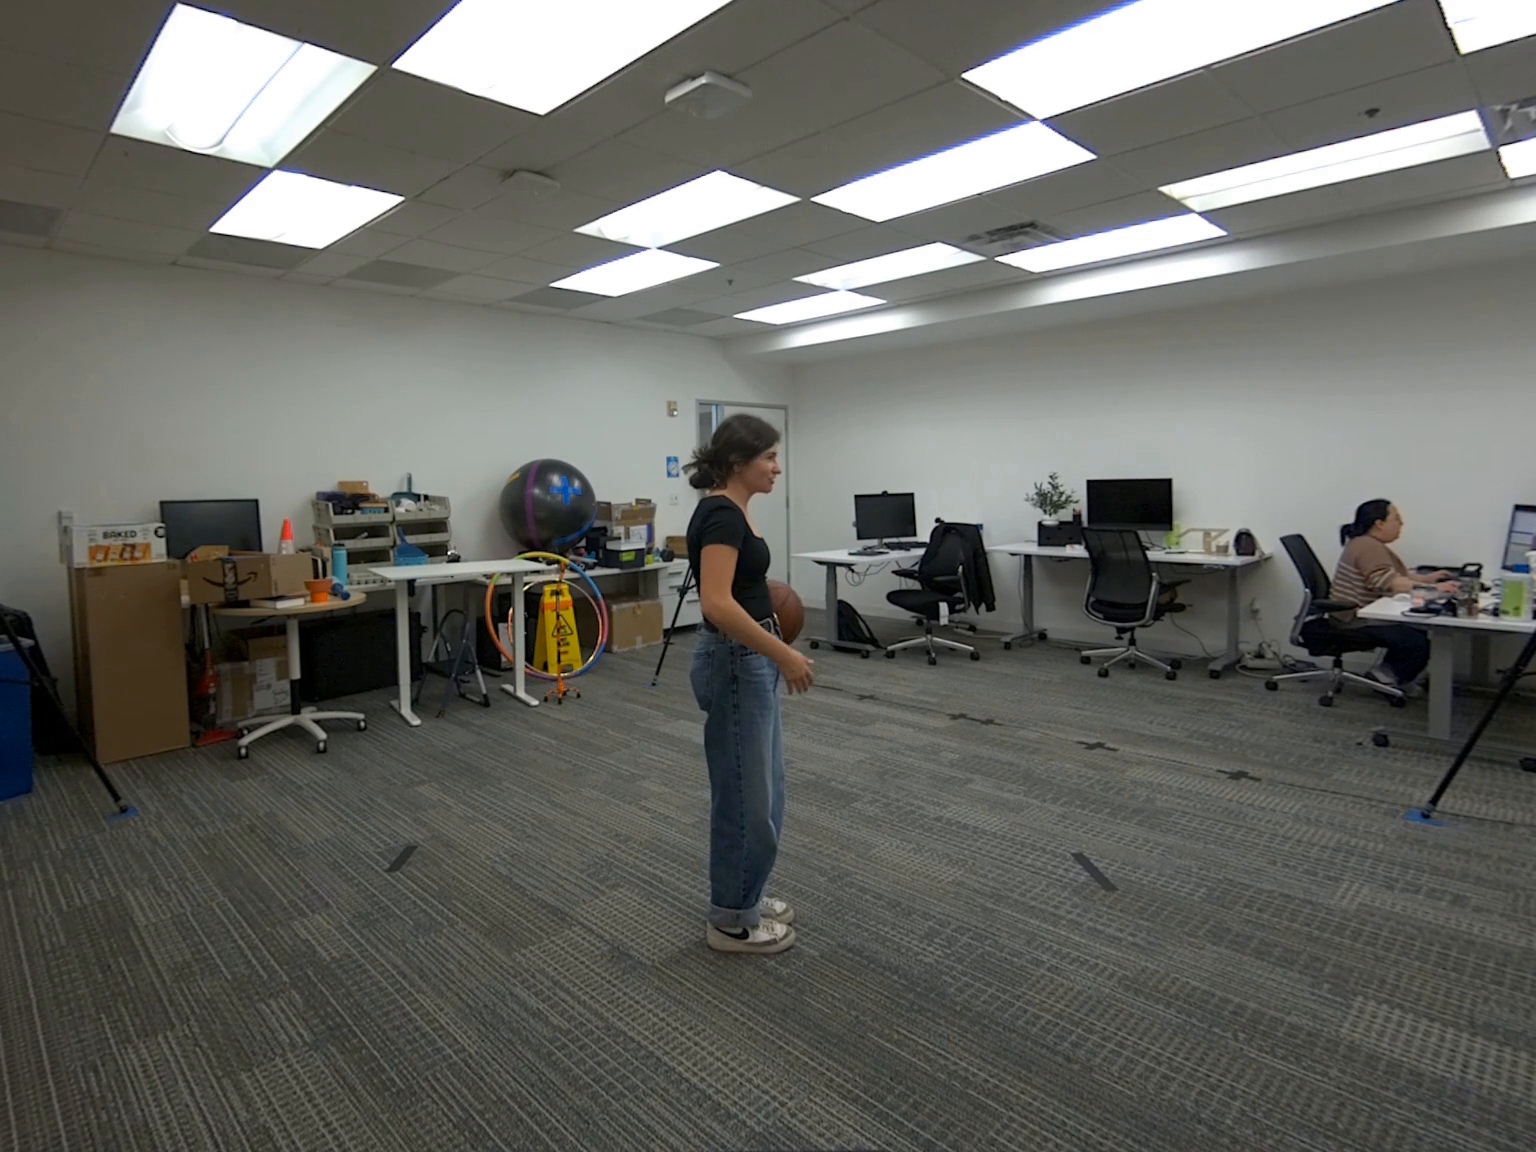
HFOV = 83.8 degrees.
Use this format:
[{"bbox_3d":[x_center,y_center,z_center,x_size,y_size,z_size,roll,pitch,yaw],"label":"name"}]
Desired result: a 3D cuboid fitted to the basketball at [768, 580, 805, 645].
[{"bbox_3d":[0.008,0.133,2.808,0.236,0.235,0.237,-1,5,-2],"label":"basketball"}]
